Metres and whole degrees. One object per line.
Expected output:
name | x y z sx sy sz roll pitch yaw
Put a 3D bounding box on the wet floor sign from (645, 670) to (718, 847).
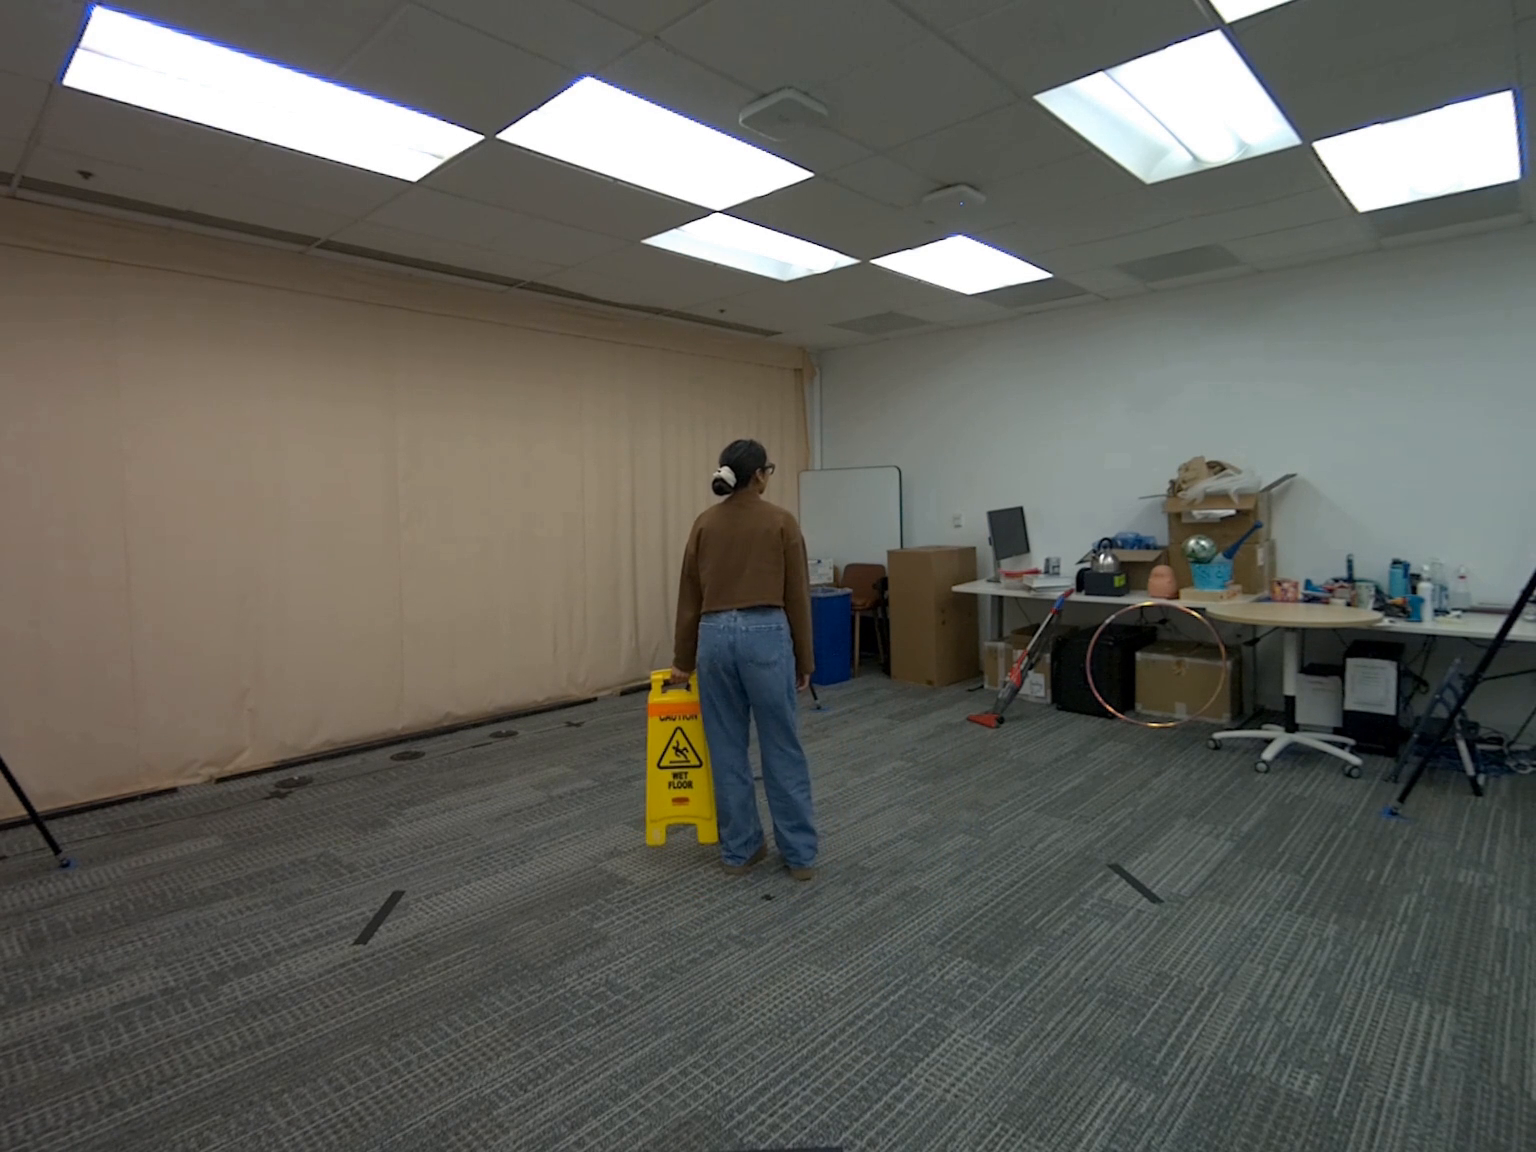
wet floor sign | -0.352 0.700 3.352 0.282 0.645 0.291 -4 3 -2
